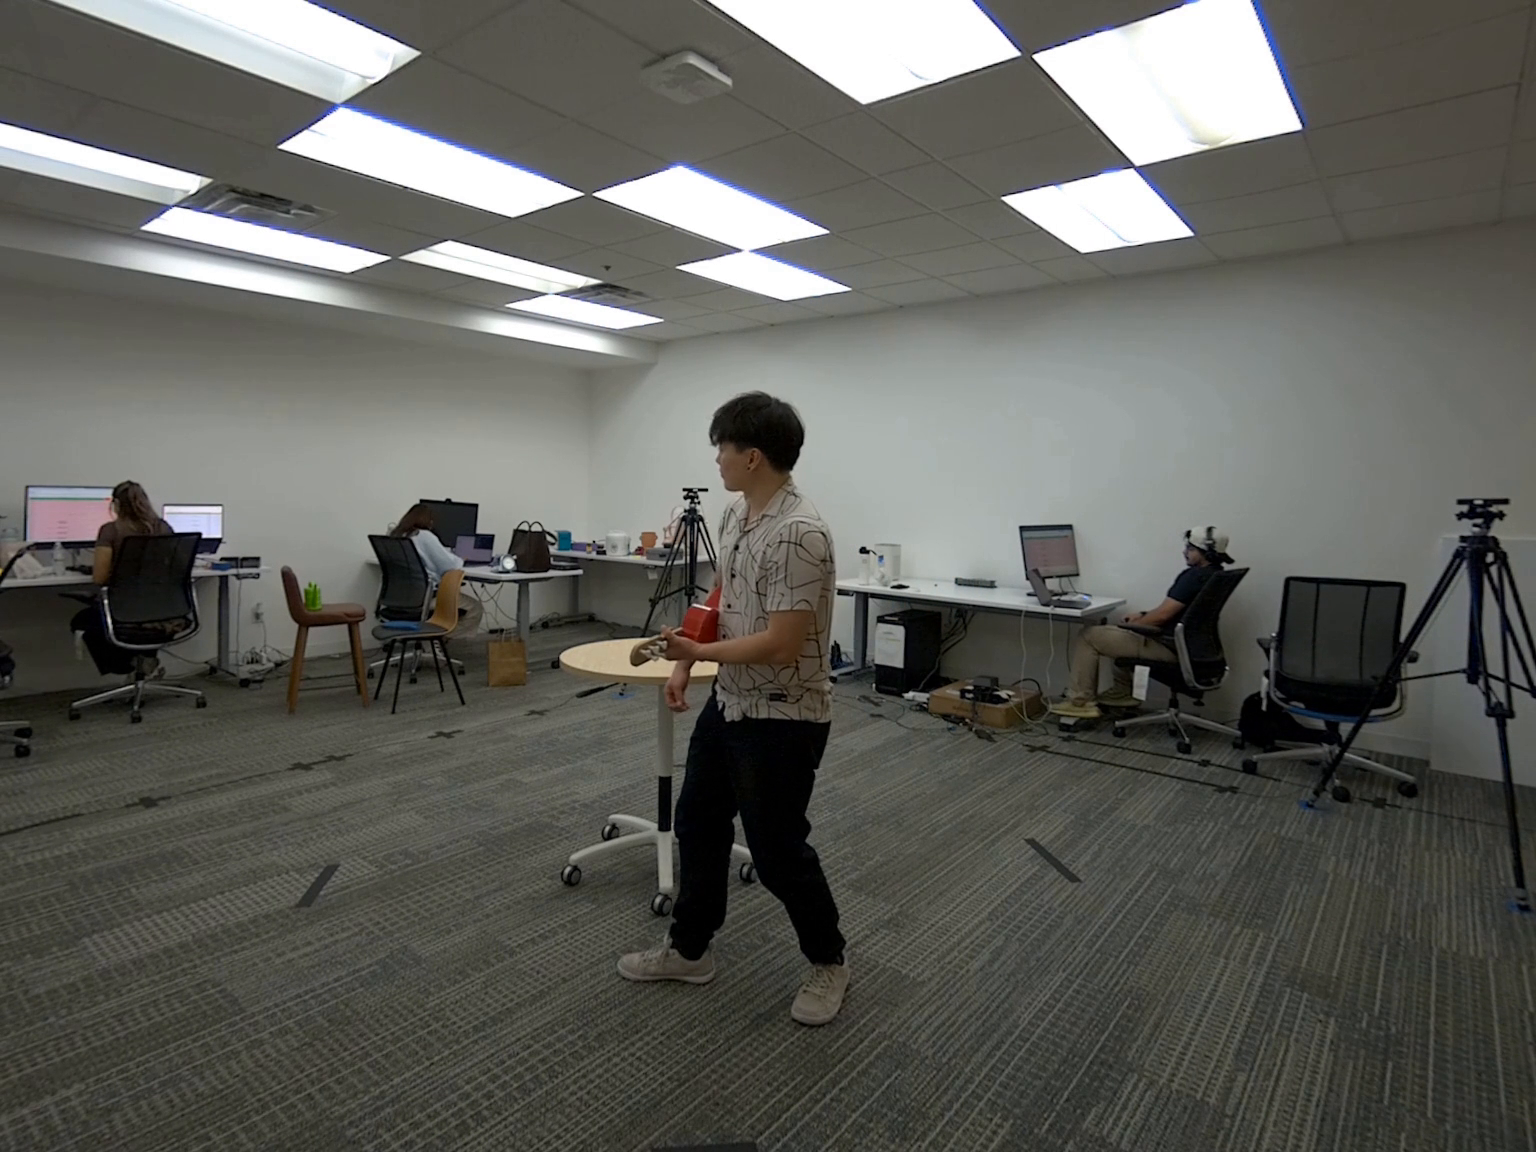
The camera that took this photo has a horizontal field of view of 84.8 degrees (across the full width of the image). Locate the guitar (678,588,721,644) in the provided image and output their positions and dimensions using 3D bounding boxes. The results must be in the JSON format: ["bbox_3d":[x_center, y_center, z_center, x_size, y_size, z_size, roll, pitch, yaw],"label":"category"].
[{"bbox_3d":[-0.220,0.177,2.276,0.073,0.189,0.493,16,26,22],"label":"guitar"}]
